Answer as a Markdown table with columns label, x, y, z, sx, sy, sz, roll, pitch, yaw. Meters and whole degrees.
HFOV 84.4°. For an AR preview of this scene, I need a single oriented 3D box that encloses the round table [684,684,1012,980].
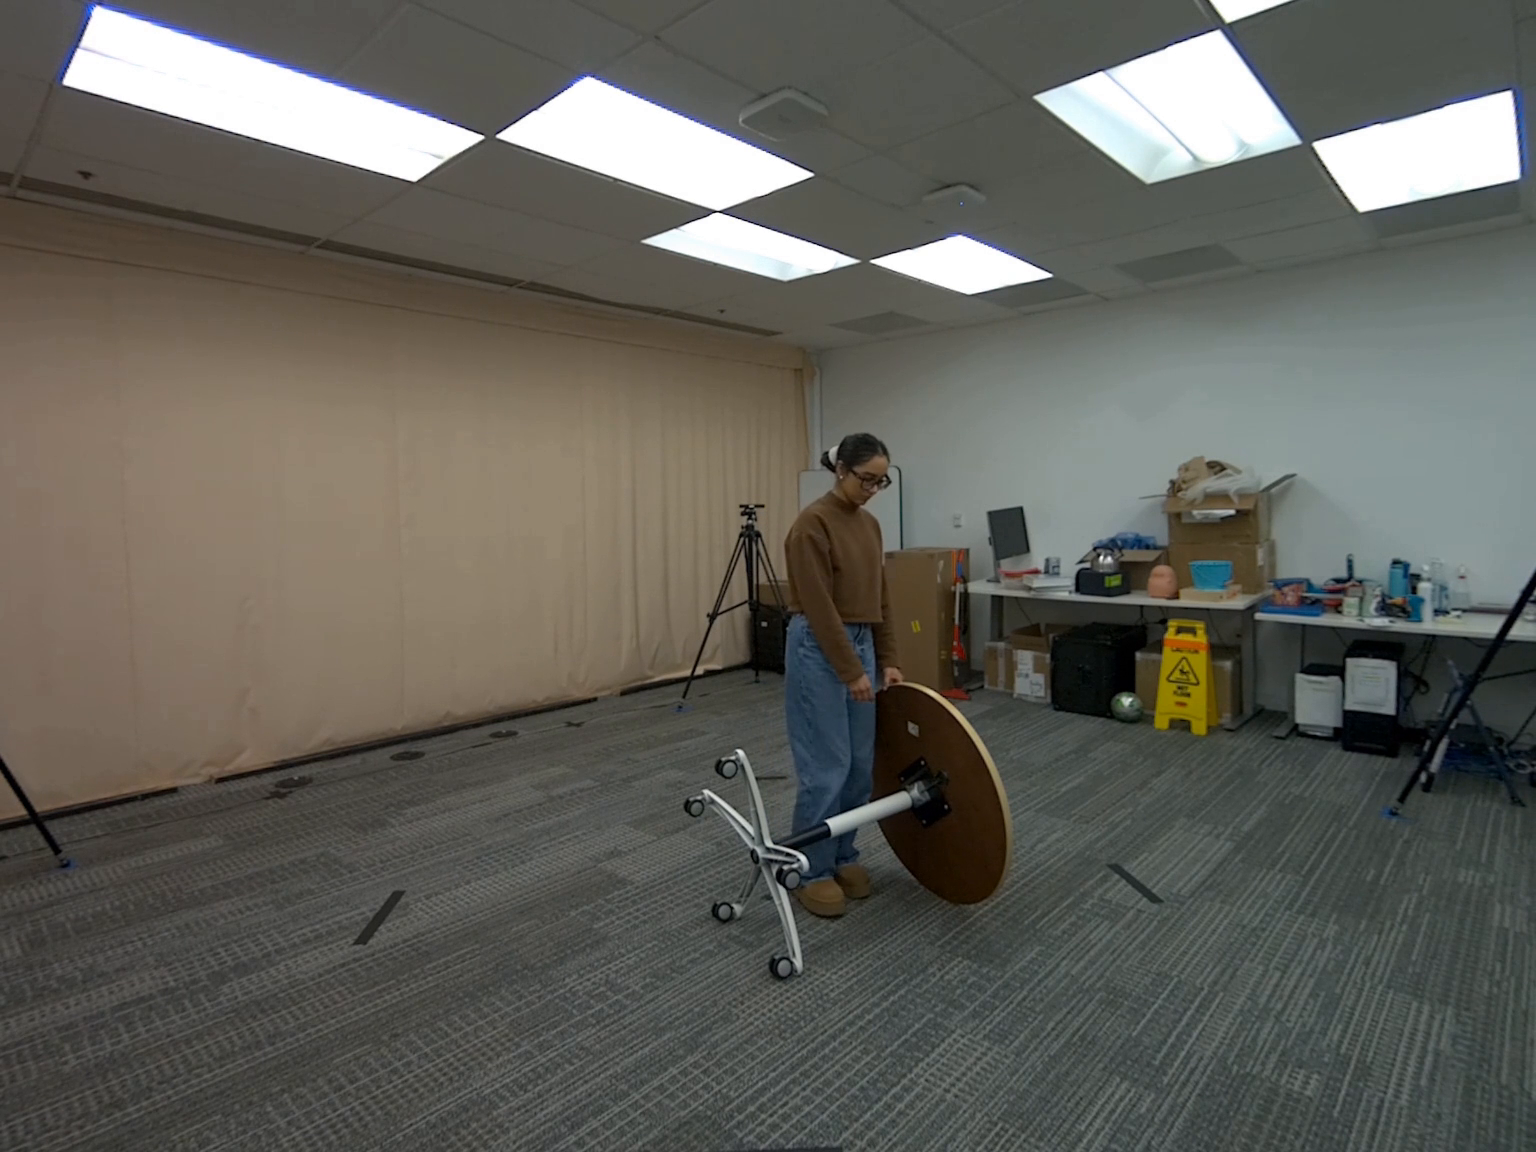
| label | x | y | z | sx | sy | sz | roll | pitch | yaw |
| --- | --- | --- | --- | --- | --- | --- | --- | --- | --- |
| round table | 0.234 | 0.823 | 2.771 | 0.776 | 0.760 | 0.785 | -11 | 8 | -27 |
